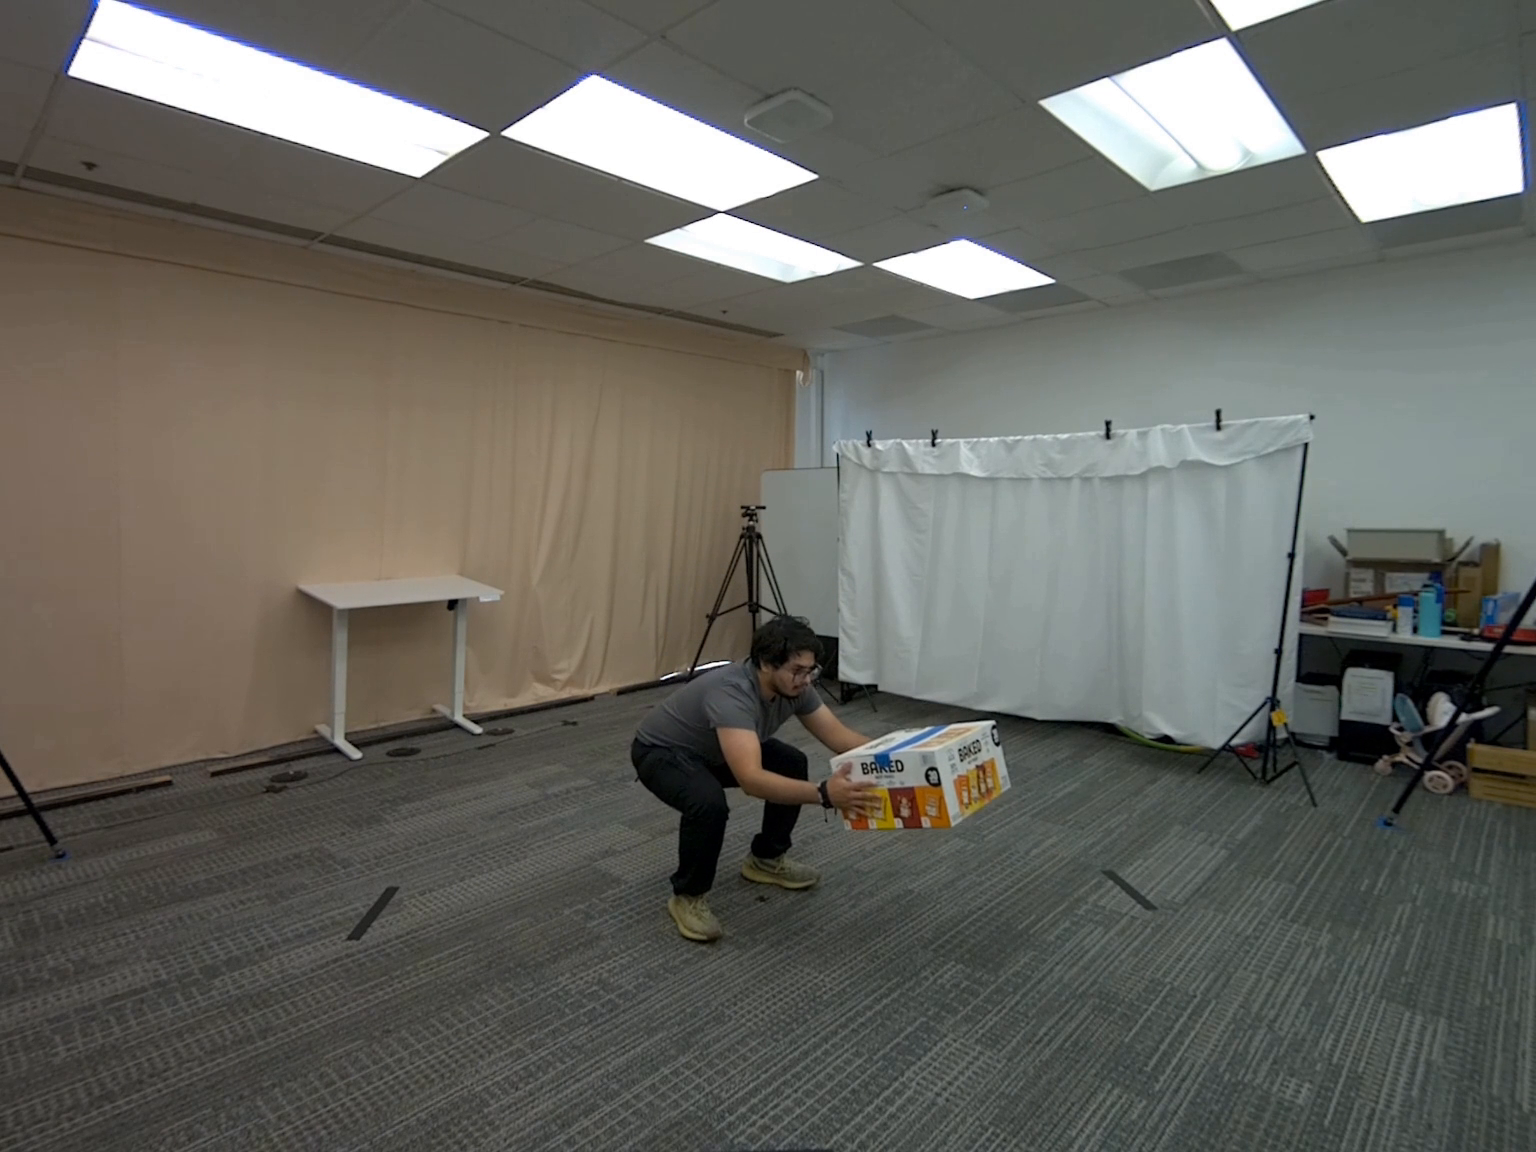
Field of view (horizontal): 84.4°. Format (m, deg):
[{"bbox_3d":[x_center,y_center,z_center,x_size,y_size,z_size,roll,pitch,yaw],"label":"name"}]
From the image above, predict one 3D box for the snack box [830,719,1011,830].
[{"bbox_3d":[0.452,0.582,2.457,0.349,0.207,0.393,-15,-6,38],"label":"snack box"}]
